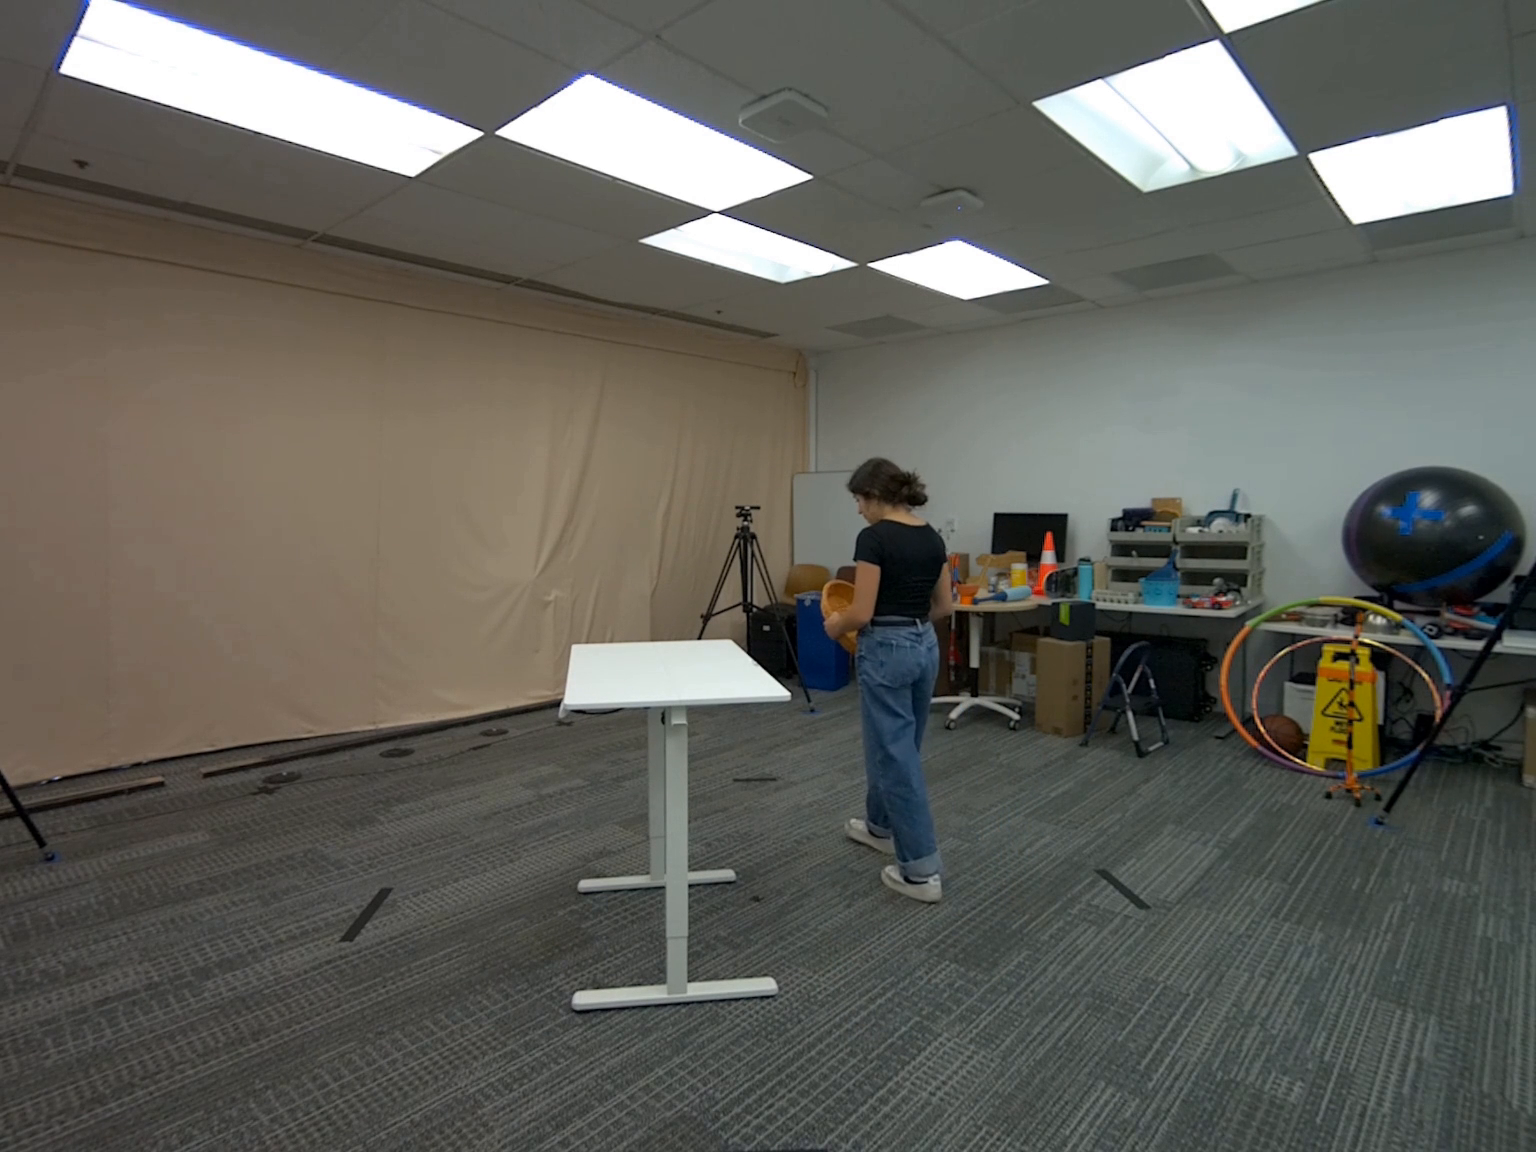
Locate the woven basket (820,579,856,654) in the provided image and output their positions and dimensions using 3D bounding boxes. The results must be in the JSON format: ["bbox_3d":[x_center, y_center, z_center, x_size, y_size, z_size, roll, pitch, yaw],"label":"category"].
[{"bbox_3d":[0.338,0.172,3.353,0.245,0.359,0.074,-2,-35,-38],"label":"woven basket"}]
